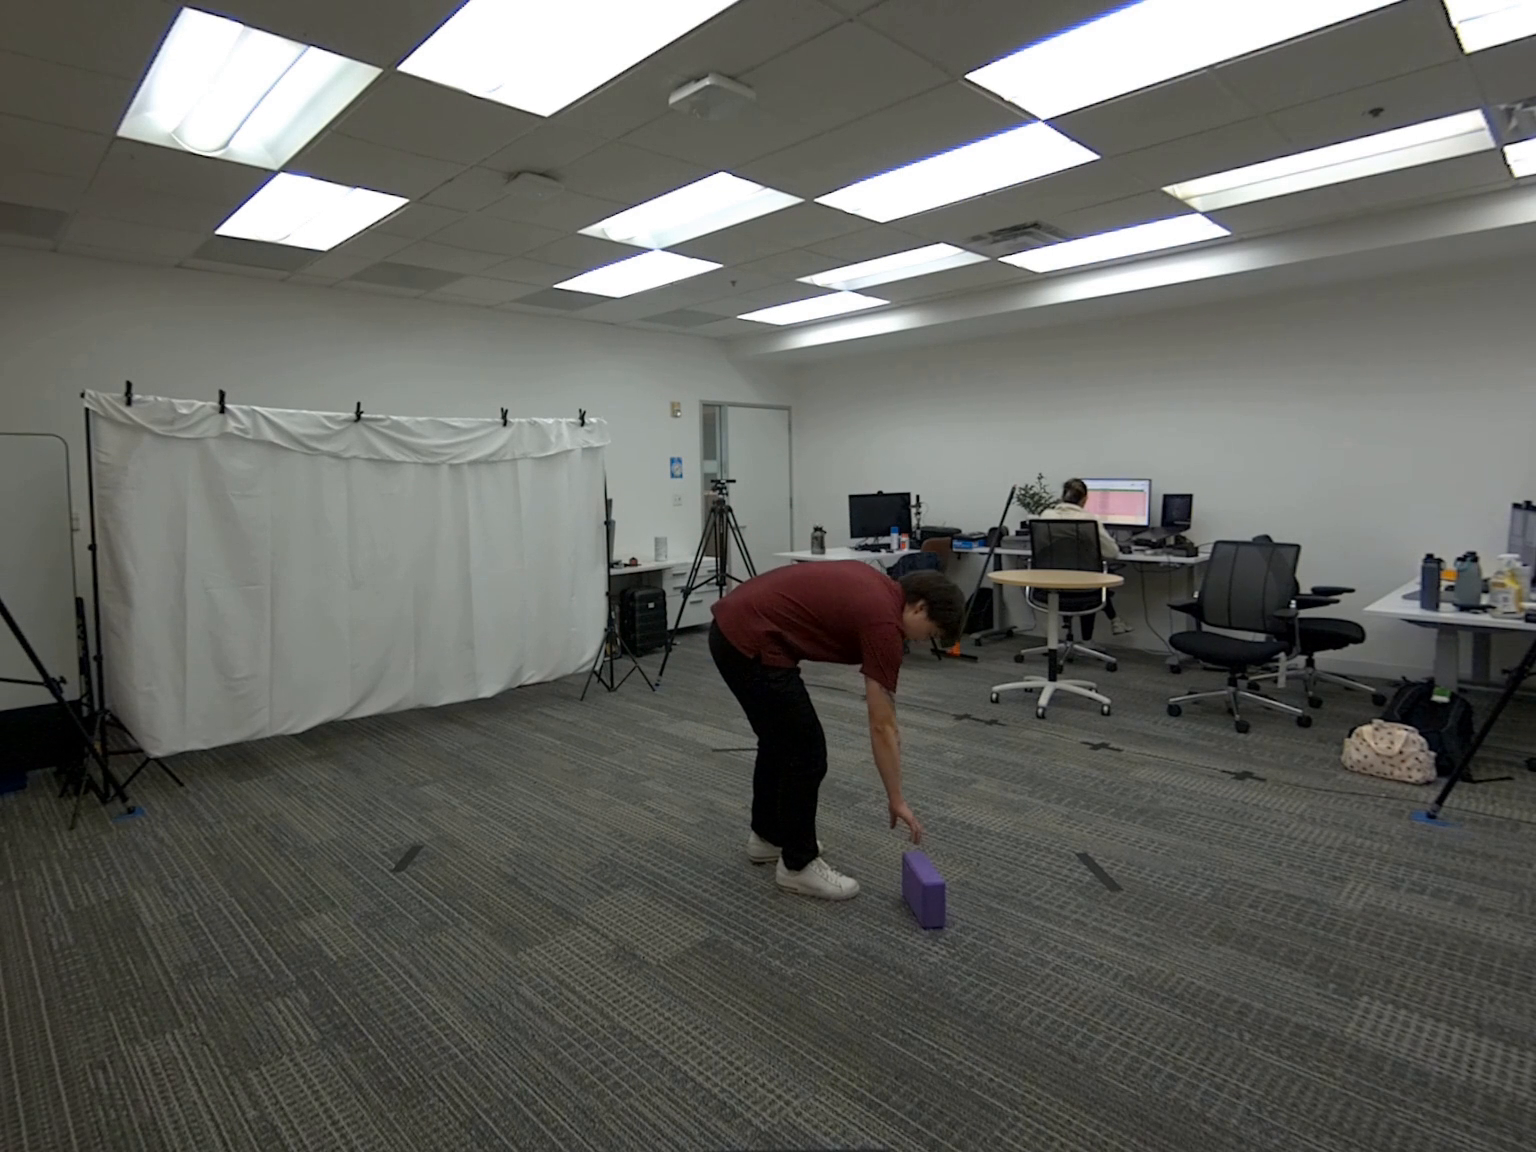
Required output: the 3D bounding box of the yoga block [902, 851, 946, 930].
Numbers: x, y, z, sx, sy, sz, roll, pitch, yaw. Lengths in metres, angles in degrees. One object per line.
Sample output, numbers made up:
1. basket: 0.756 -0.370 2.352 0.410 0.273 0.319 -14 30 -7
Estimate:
1. yoga block: 0.506 1.005 2.731 0.076 0.148 0.231 0 4 -5
